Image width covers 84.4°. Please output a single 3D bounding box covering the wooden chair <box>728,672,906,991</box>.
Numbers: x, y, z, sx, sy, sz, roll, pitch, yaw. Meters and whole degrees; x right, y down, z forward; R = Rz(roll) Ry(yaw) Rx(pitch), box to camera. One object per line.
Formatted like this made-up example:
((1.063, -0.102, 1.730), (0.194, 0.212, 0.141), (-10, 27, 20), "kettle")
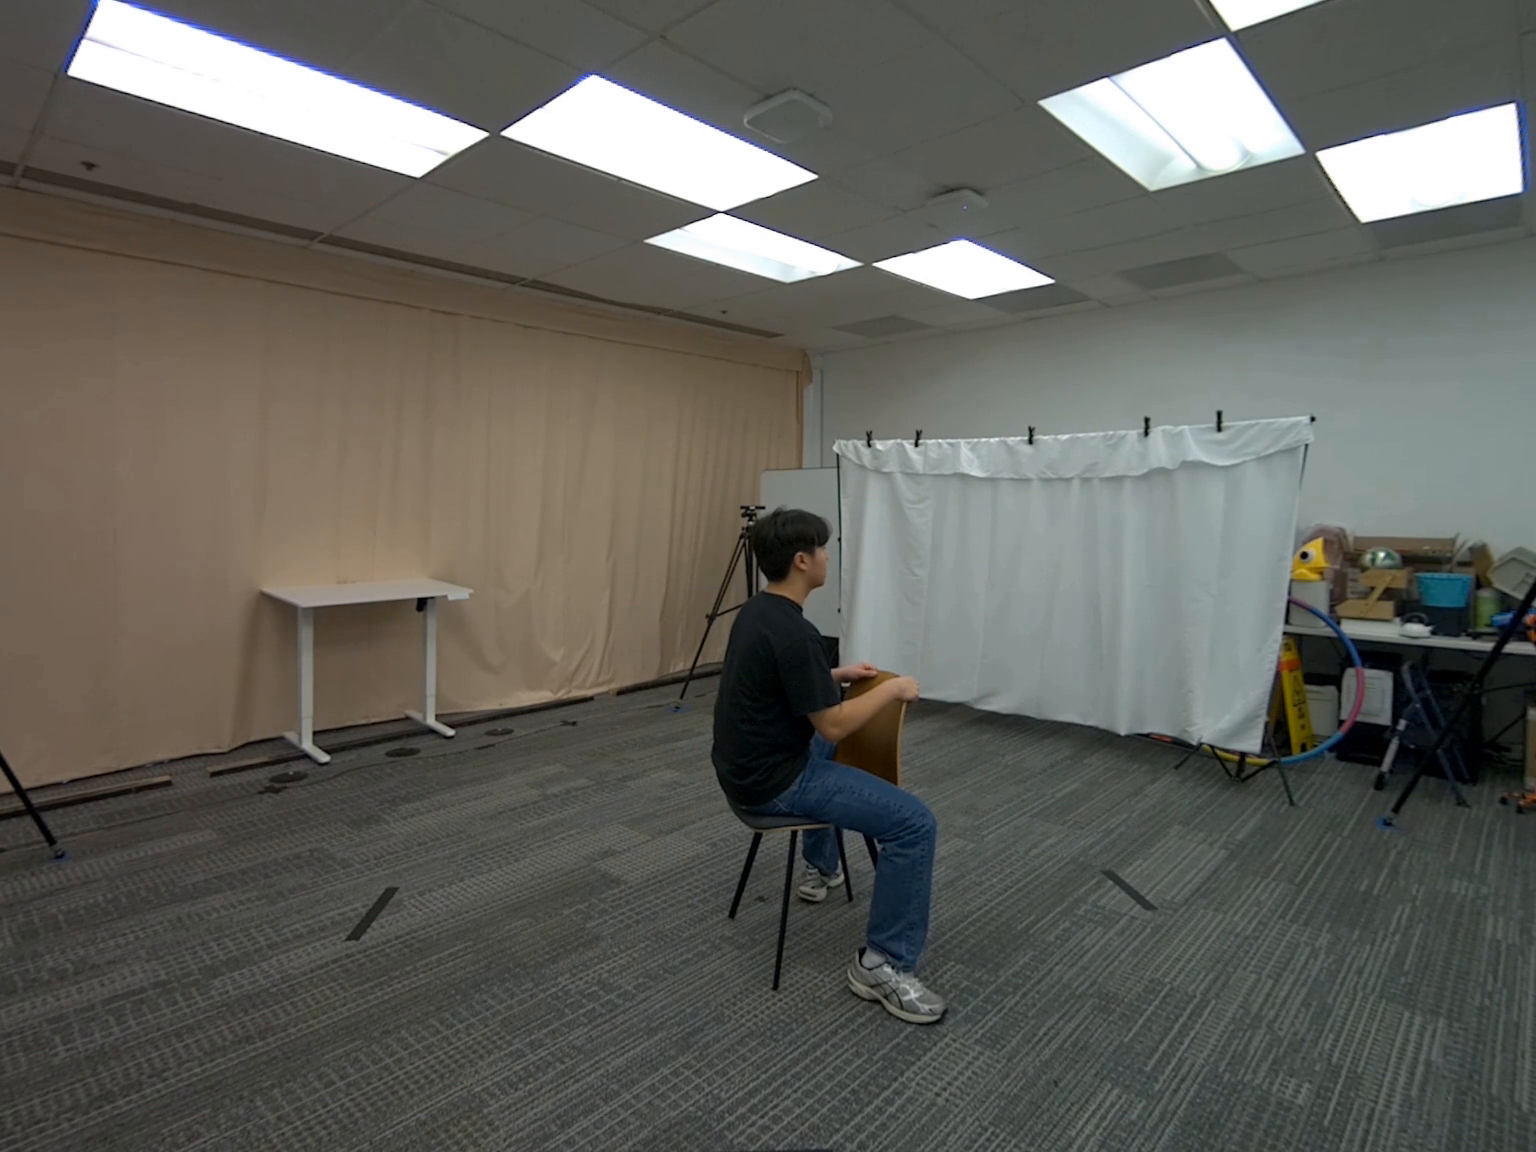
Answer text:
((0.149, 0.746, 2.666), (0.514, 0.876, 0.488), (2, 3, -18), "wooden chair")
